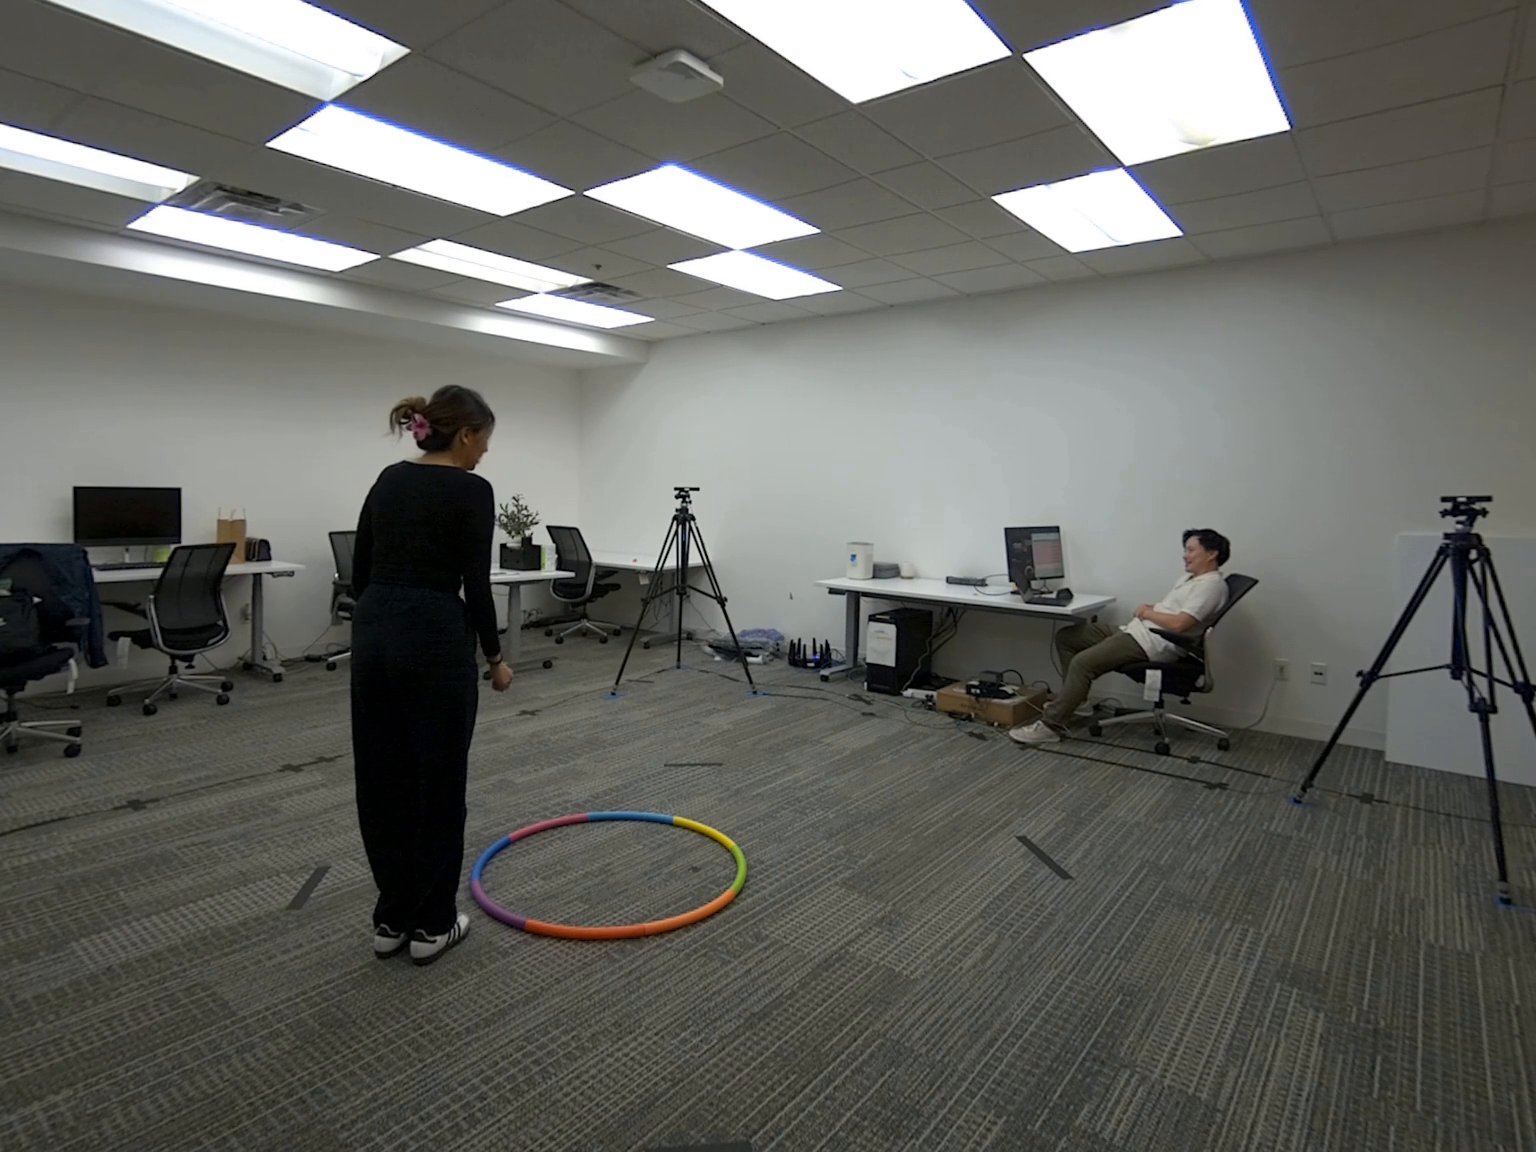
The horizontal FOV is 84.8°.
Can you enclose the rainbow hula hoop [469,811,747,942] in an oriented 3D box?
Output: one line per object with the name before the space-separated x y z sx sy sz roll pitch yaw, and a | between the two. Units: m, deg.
rainbow hula hoop | -0.574 1.036 3.082 0.978 0.035 0.984 1 6 -2
